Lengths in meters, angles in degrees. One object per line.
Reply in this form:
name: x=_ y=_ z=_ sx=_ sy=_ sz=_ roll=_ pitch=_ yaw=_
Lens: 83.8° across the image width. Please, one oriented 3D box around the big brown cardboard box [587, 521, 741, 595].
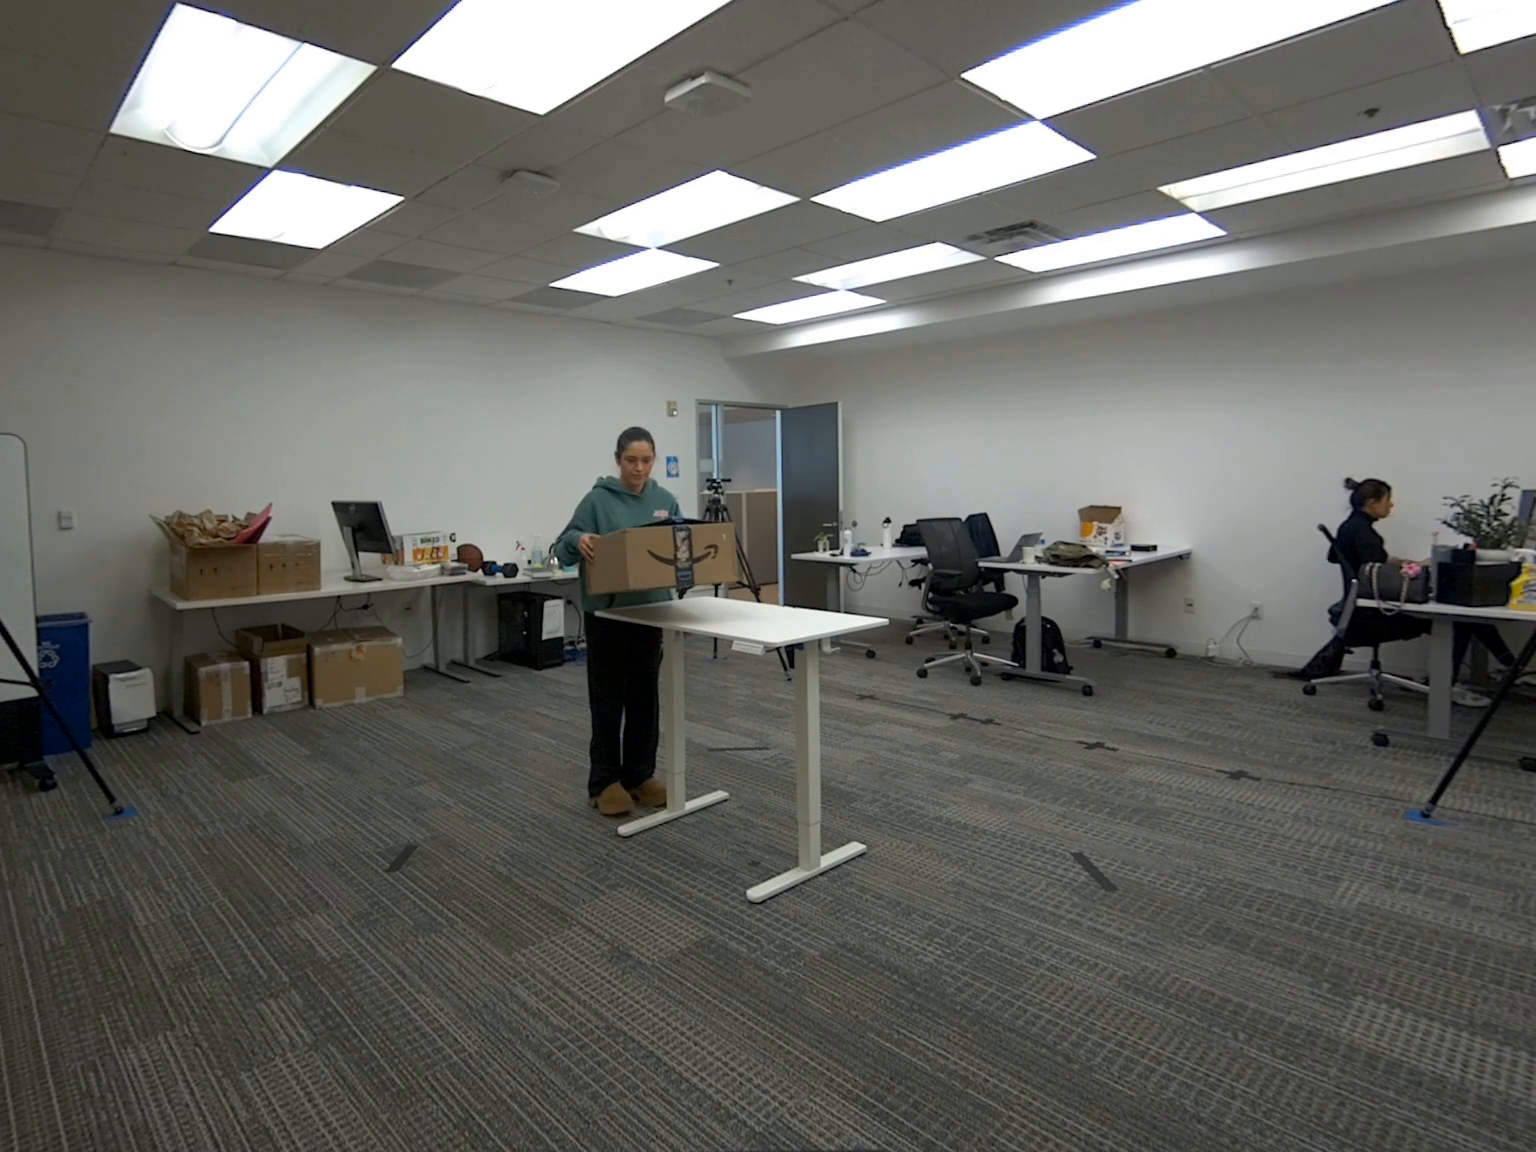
big brown cardboard box: x=-0.421 y=-0.059 z=3.243 sx=0.409 sy=0.234 sz=0.599 roll=-4 pitch=-2 yaw=-26
